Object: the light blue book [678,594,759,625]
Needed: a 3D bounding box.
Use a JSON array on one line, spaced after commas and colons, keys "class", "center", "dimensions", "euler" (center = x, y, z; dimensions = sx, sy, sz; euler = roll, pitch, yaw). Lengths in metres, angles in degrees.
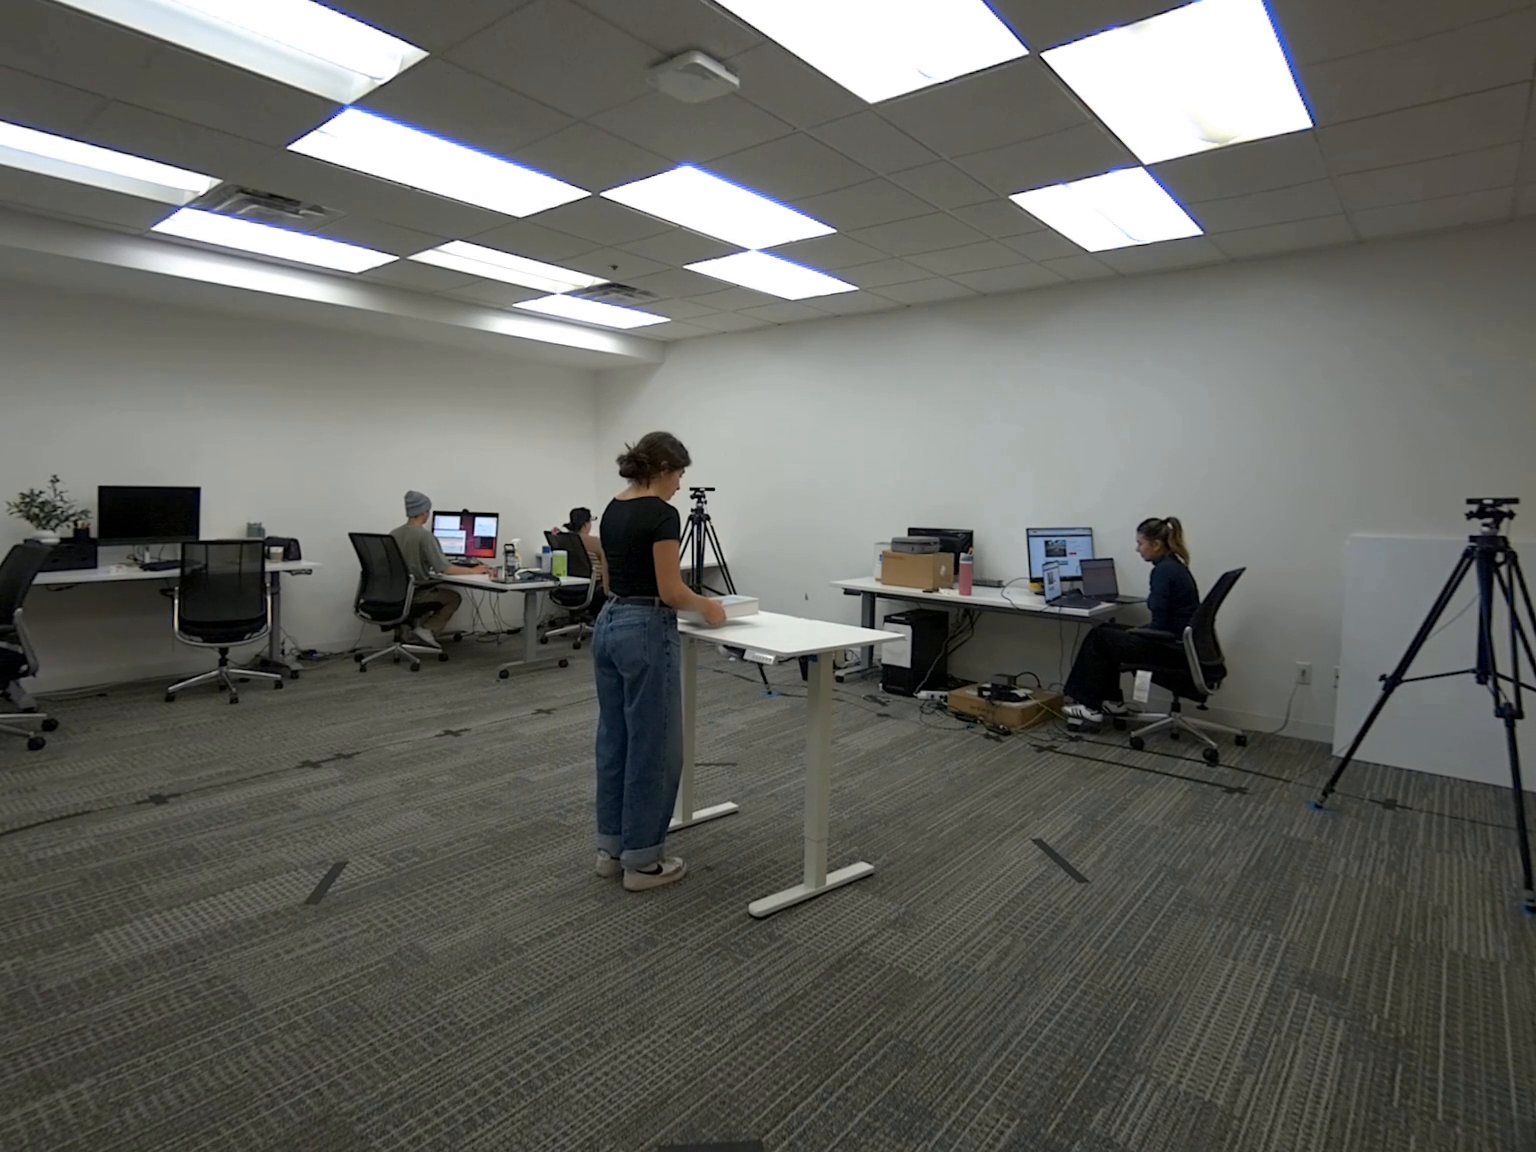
[{"class": "light blue book", "center": [-0.203, 0.123, 3.203], "dimensions": [0.255, 0.058, 0.197], "euler": [-8, 9, -30]}]
